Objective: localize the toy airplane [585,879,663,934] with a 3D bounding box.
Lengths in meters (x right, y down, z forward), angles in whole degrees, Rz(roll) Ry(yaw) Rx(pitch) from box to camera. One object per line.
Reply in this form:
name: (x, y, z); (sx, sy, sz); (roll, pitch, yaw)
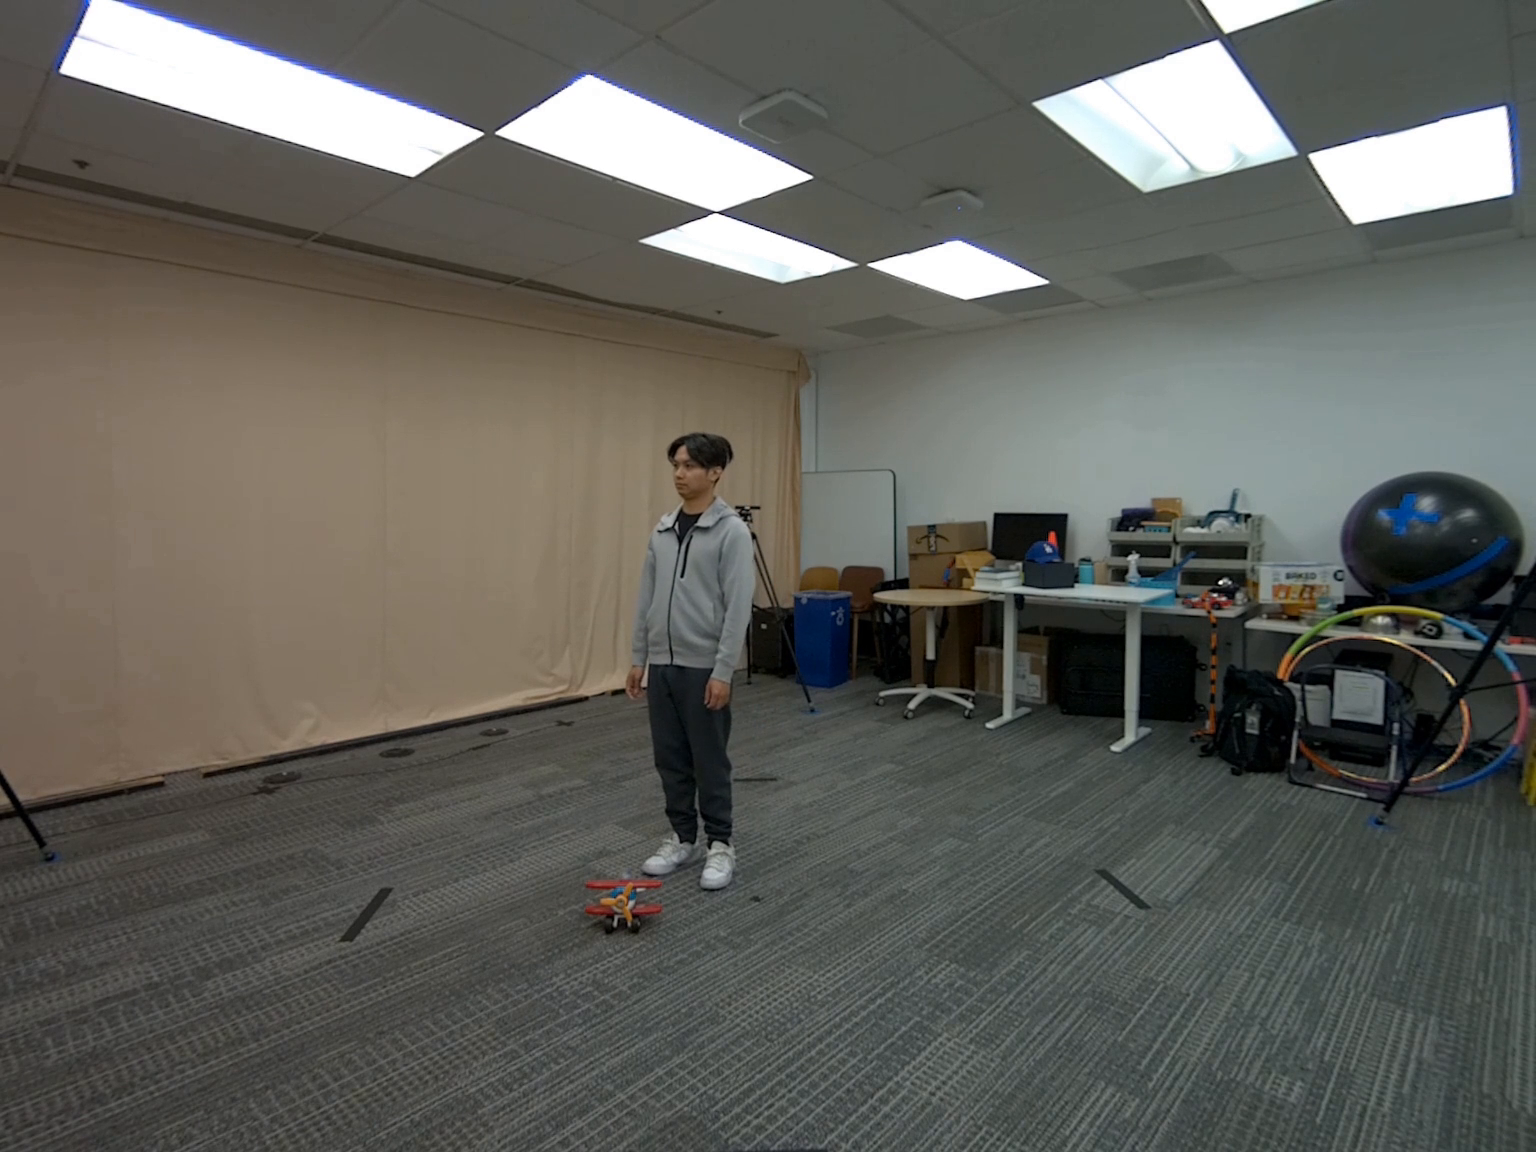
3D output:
toy airplane: (-0.499, 1.082, 2.838); (0.244, 0.156, 0.266); (-3, 4, -29)
